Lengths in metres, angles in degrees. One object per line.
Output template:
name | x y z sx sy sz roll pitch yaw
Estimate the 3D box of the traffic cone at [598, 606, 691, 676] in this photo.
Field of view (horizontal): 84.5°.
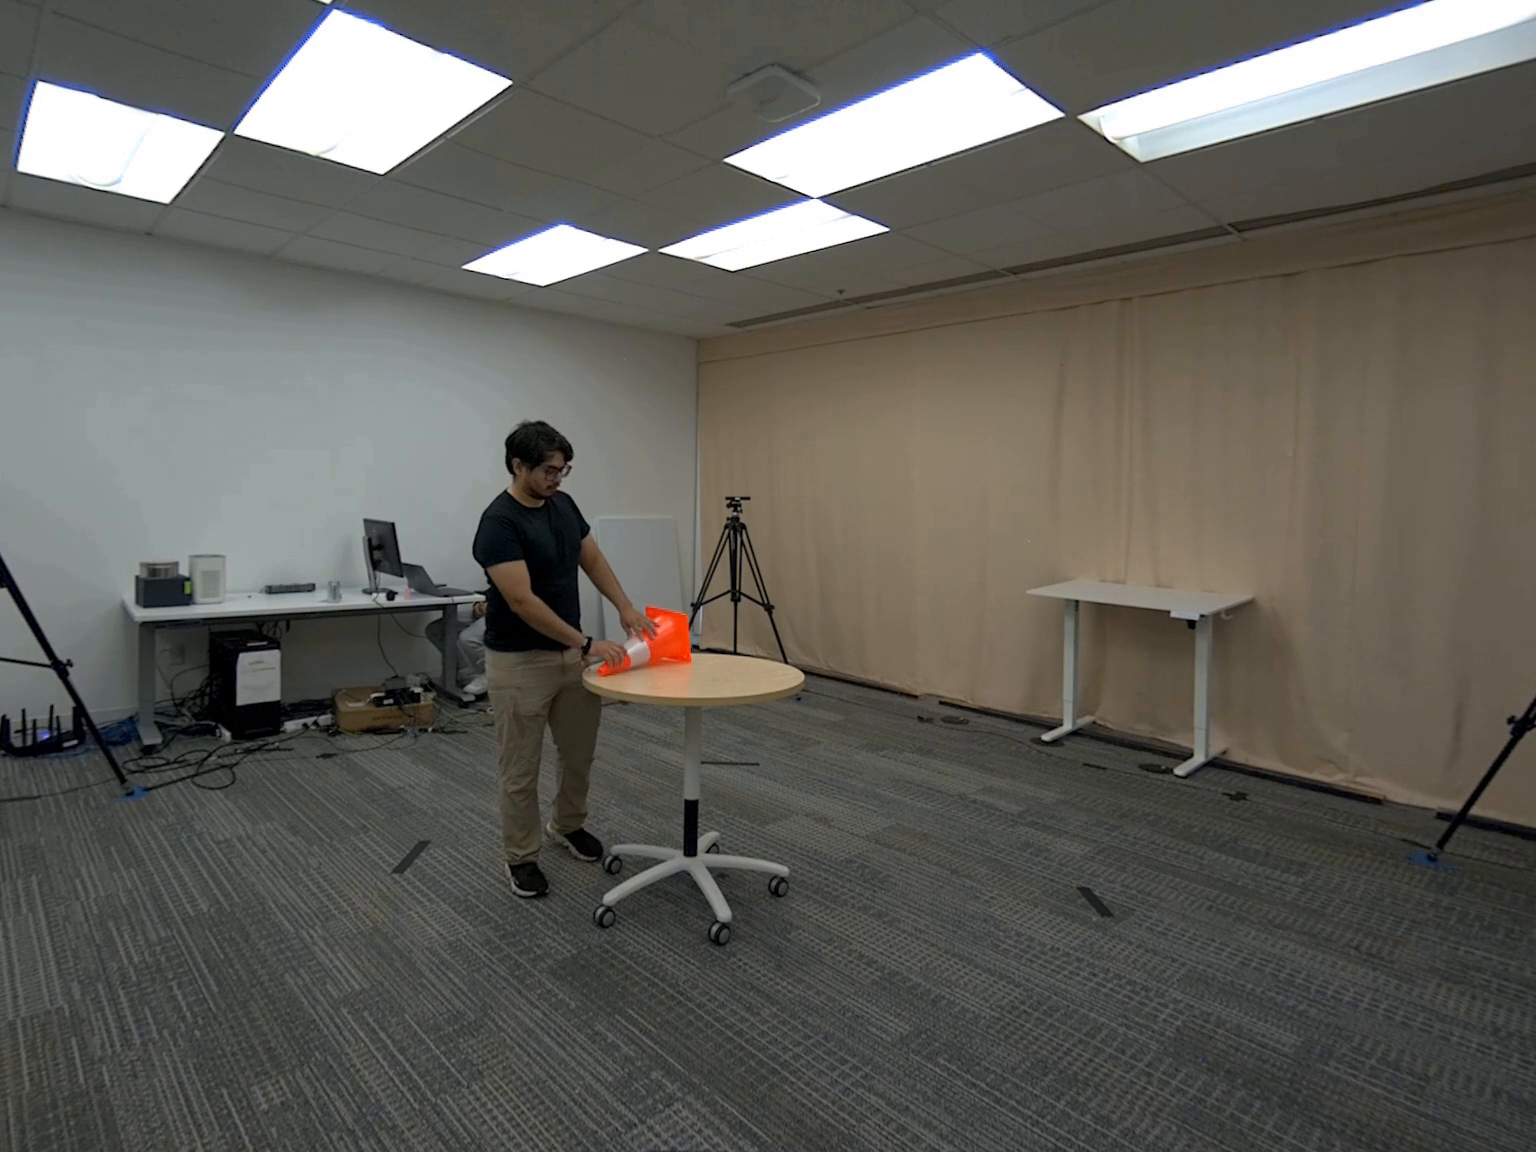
traffic cone | -0.474 0.279 2.974 0.210 0.200 0.380 8 23 29
